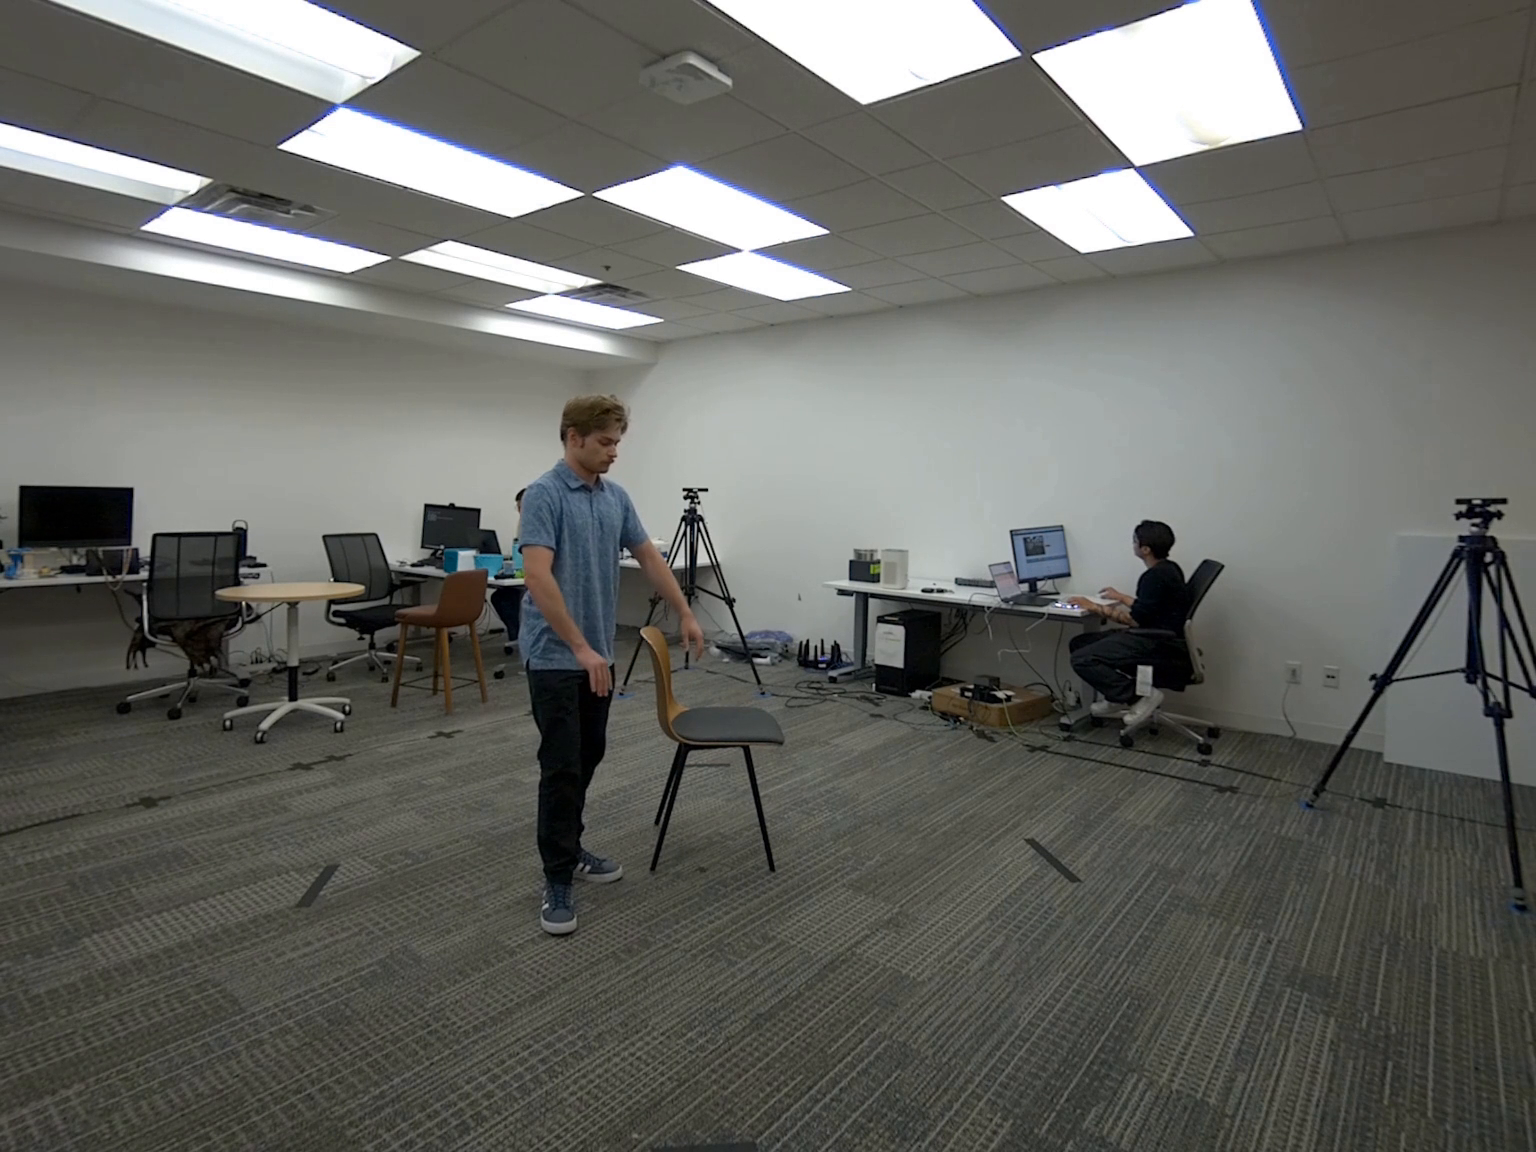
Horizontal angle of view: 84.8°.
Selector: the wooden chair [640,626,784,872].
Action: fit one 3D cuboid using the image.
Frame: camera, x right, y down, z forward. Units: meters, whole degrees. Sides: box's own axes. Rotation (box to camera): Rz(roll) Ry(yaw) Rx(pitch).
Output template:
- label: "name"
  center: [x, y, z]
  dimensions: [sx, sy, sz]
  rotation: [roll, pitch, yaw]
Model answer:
- label: "wooden chair"
  center: [-0.215, 0.627, 3.292]
  dimensions: [0.521, 0.875, 0.481]
  rotation: [-3, 3, -4]
